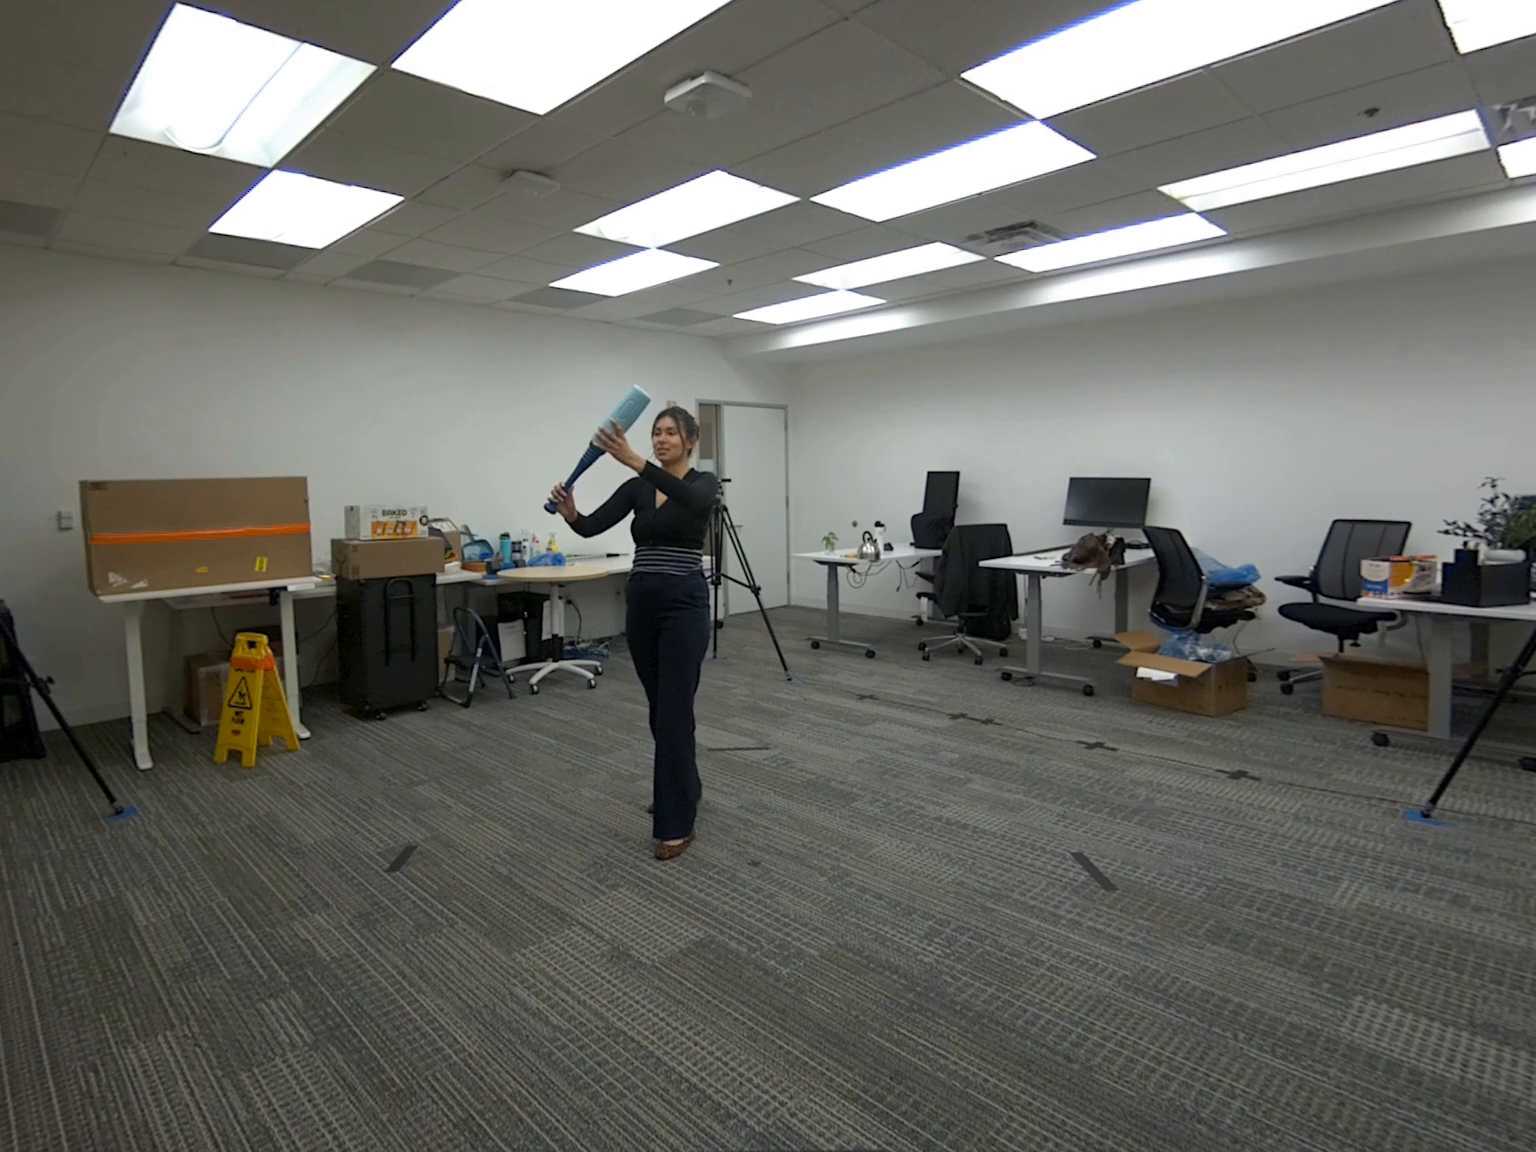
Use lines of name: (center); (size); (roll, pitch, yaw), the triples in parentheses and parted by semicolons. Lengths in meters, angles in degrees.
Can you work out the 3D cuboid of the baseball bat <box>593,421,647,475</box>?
baseball bat: (-0.586, -0.439, 2.974); (0.089, 0.543, 0.089); (38, 1, -3)
